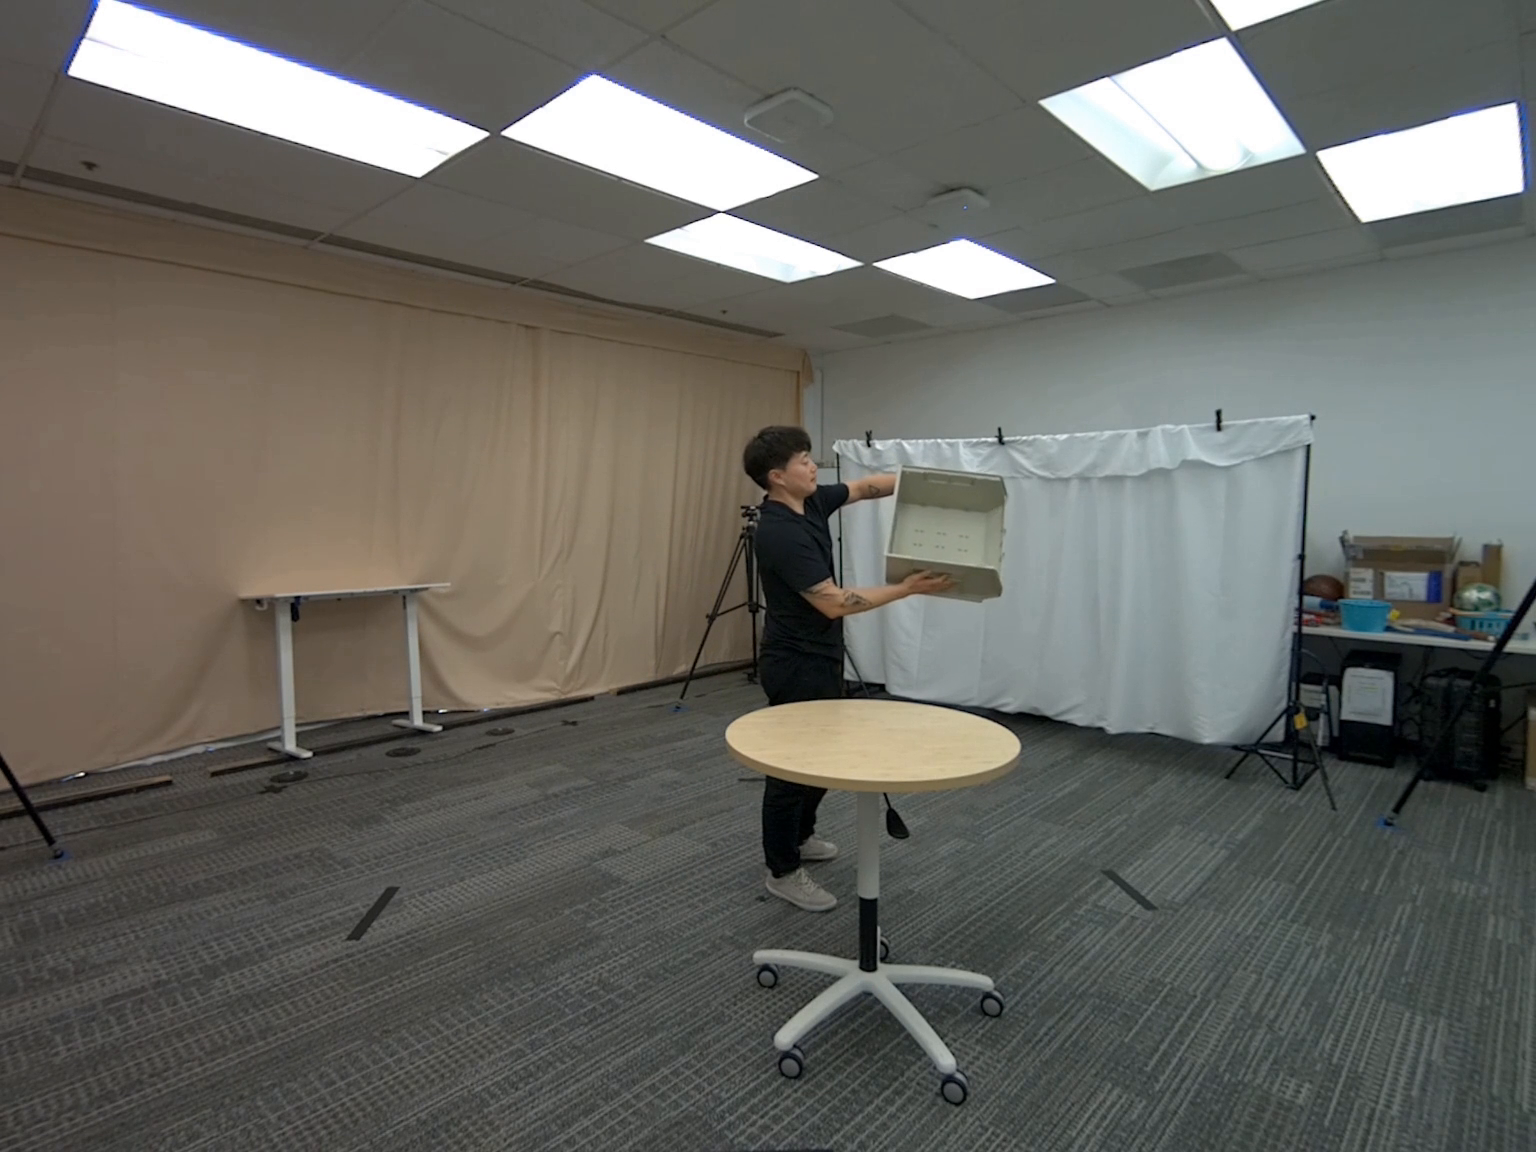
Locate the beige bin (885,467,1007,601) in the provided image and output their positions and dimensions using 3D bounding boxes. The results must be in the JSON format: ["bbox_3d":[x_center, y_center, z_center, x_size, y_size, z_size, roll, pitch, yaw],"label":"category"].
[{"bbox_3d":[0.614,-0.146,2.811,0.383,0.425,0.184,7,-38,13],"label":"beige bin"}]
